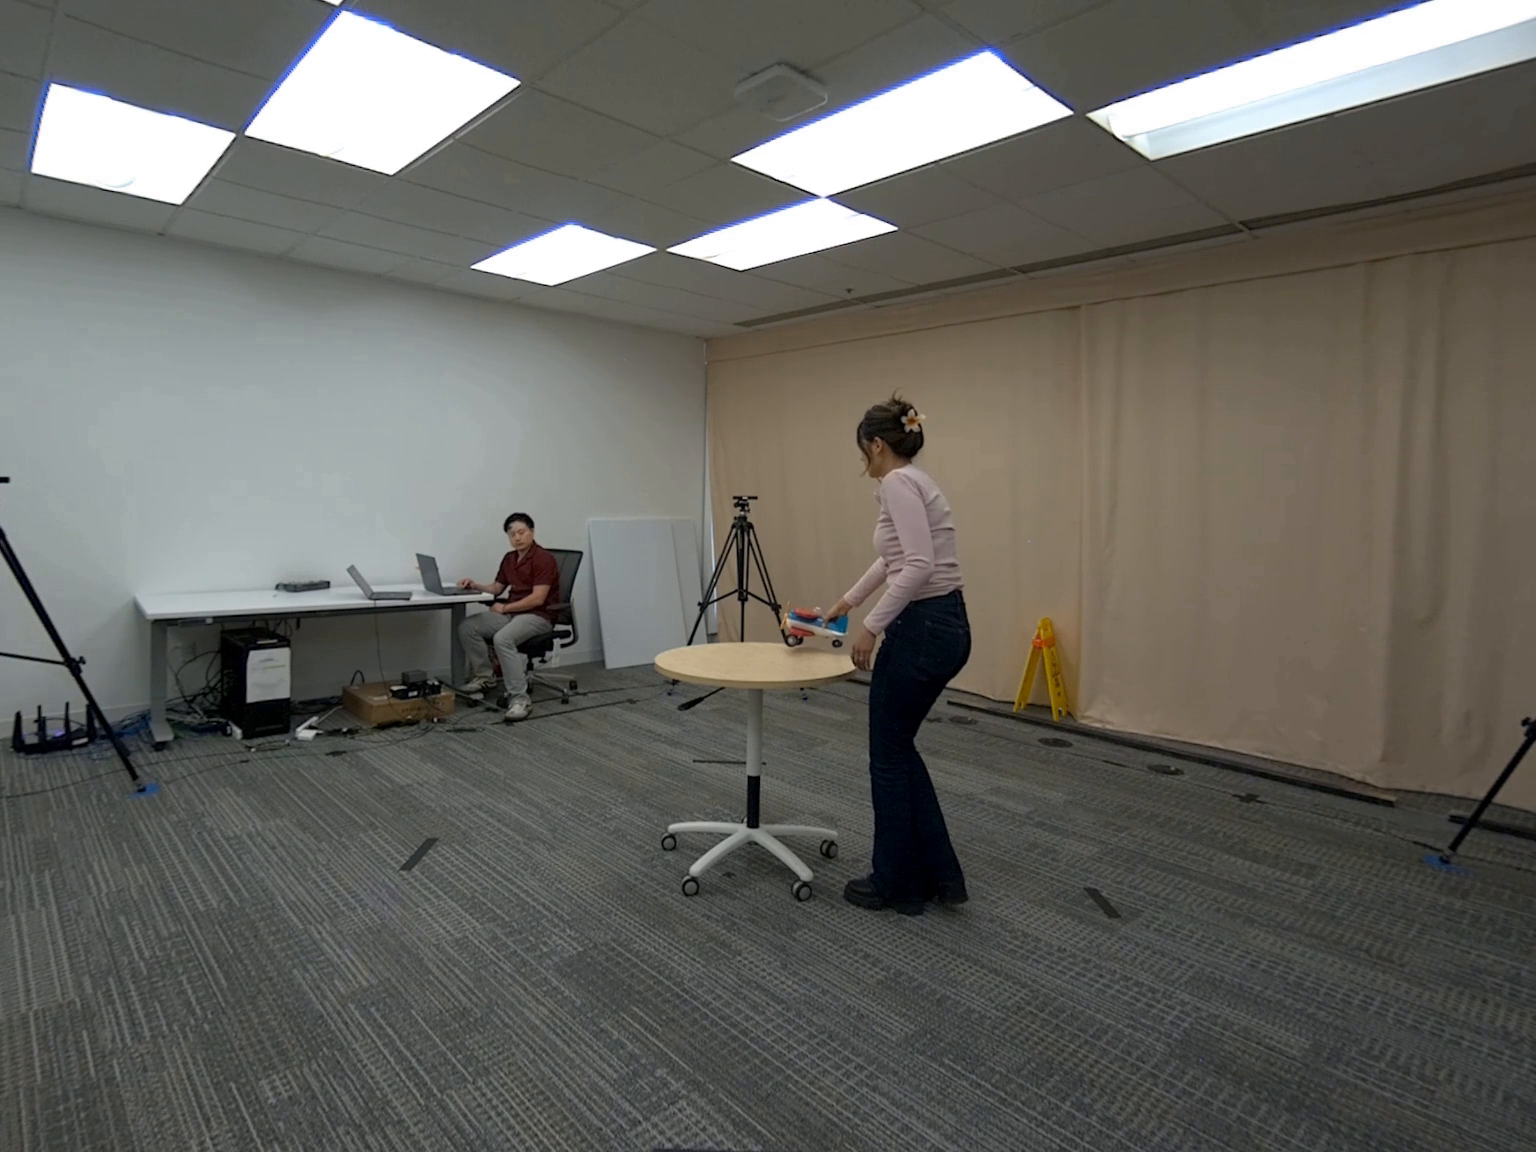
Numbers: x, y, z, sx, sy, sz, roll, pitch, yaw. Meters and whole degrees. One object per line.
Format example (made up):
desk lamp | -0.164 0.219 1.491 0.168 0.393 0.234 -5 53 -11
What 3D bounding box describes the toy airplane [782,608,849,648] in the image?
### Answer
toy airplane | 0.190 0.206 3.391 0.257 0.157 0.253 0 -1 -11
